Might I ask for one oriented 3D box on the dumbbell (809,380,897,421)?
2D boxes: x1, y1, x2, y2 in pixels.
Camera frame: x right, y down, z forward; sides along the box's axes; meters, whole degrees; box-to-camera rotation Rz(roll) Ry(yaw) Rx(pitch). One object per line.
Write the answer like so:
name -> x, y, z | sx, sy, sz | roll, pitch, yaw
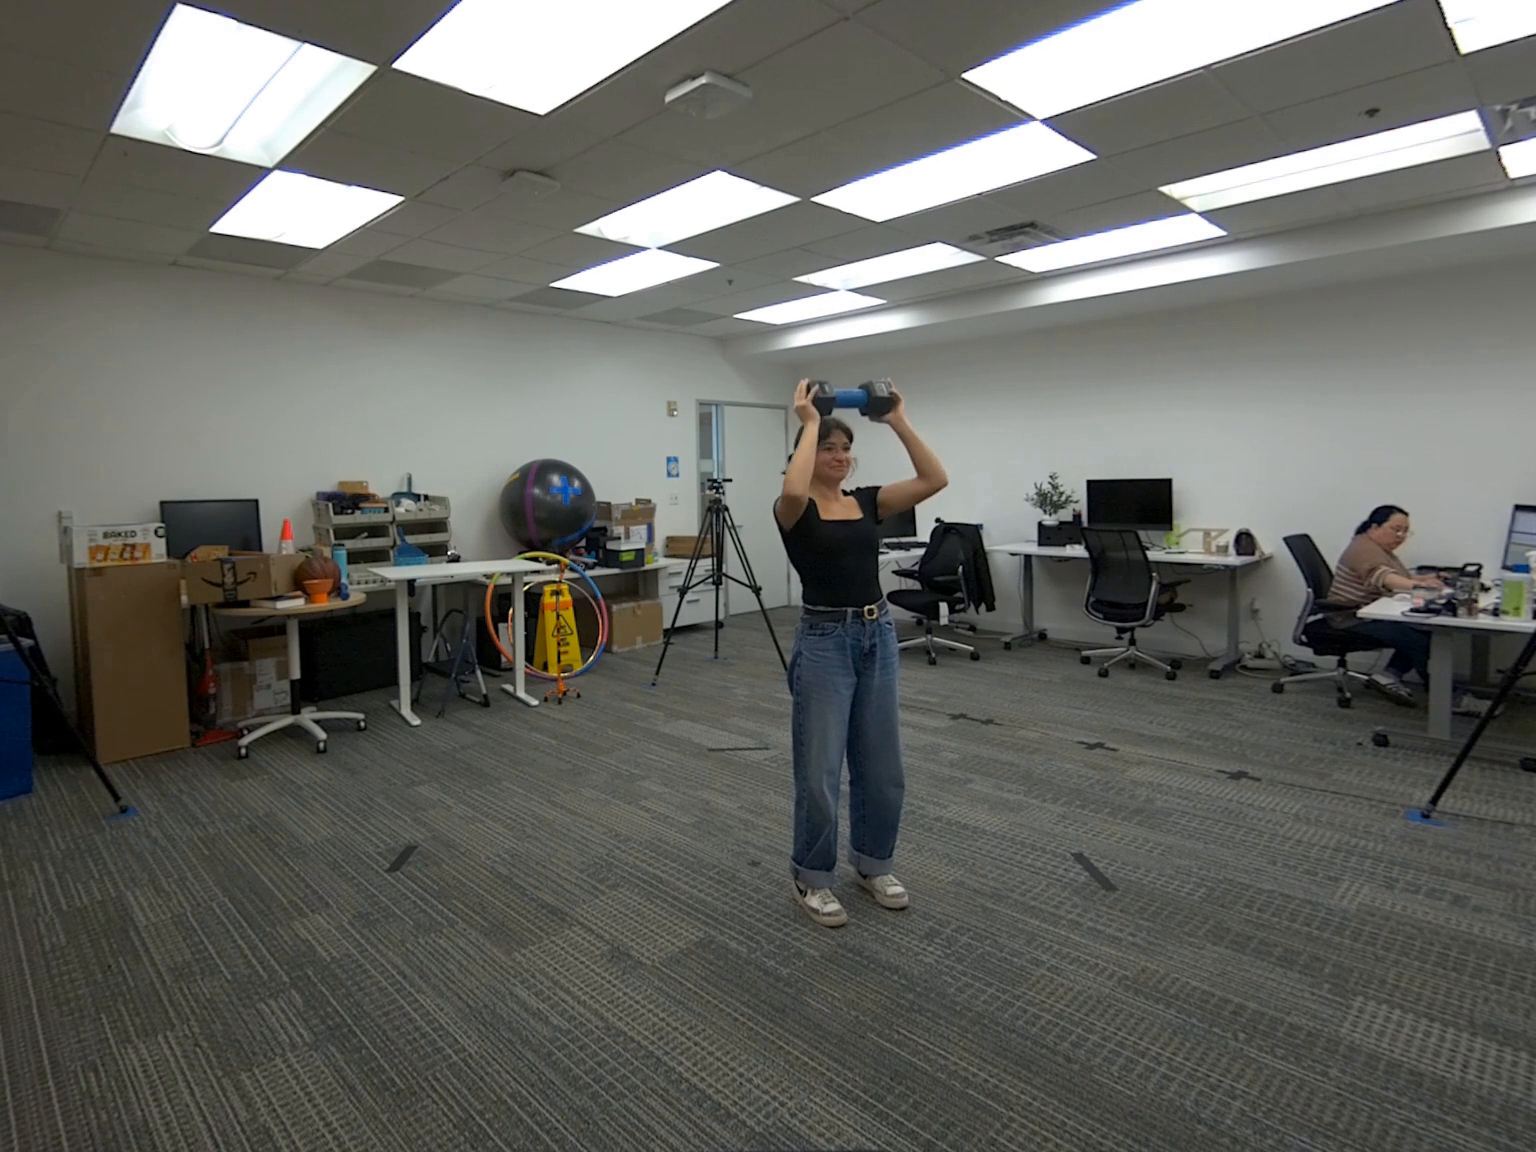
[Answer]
dumbbell -> 0.243, -0.553, 2.647 | 0.288, 0.120, 0.113 | -5, 38, -24
